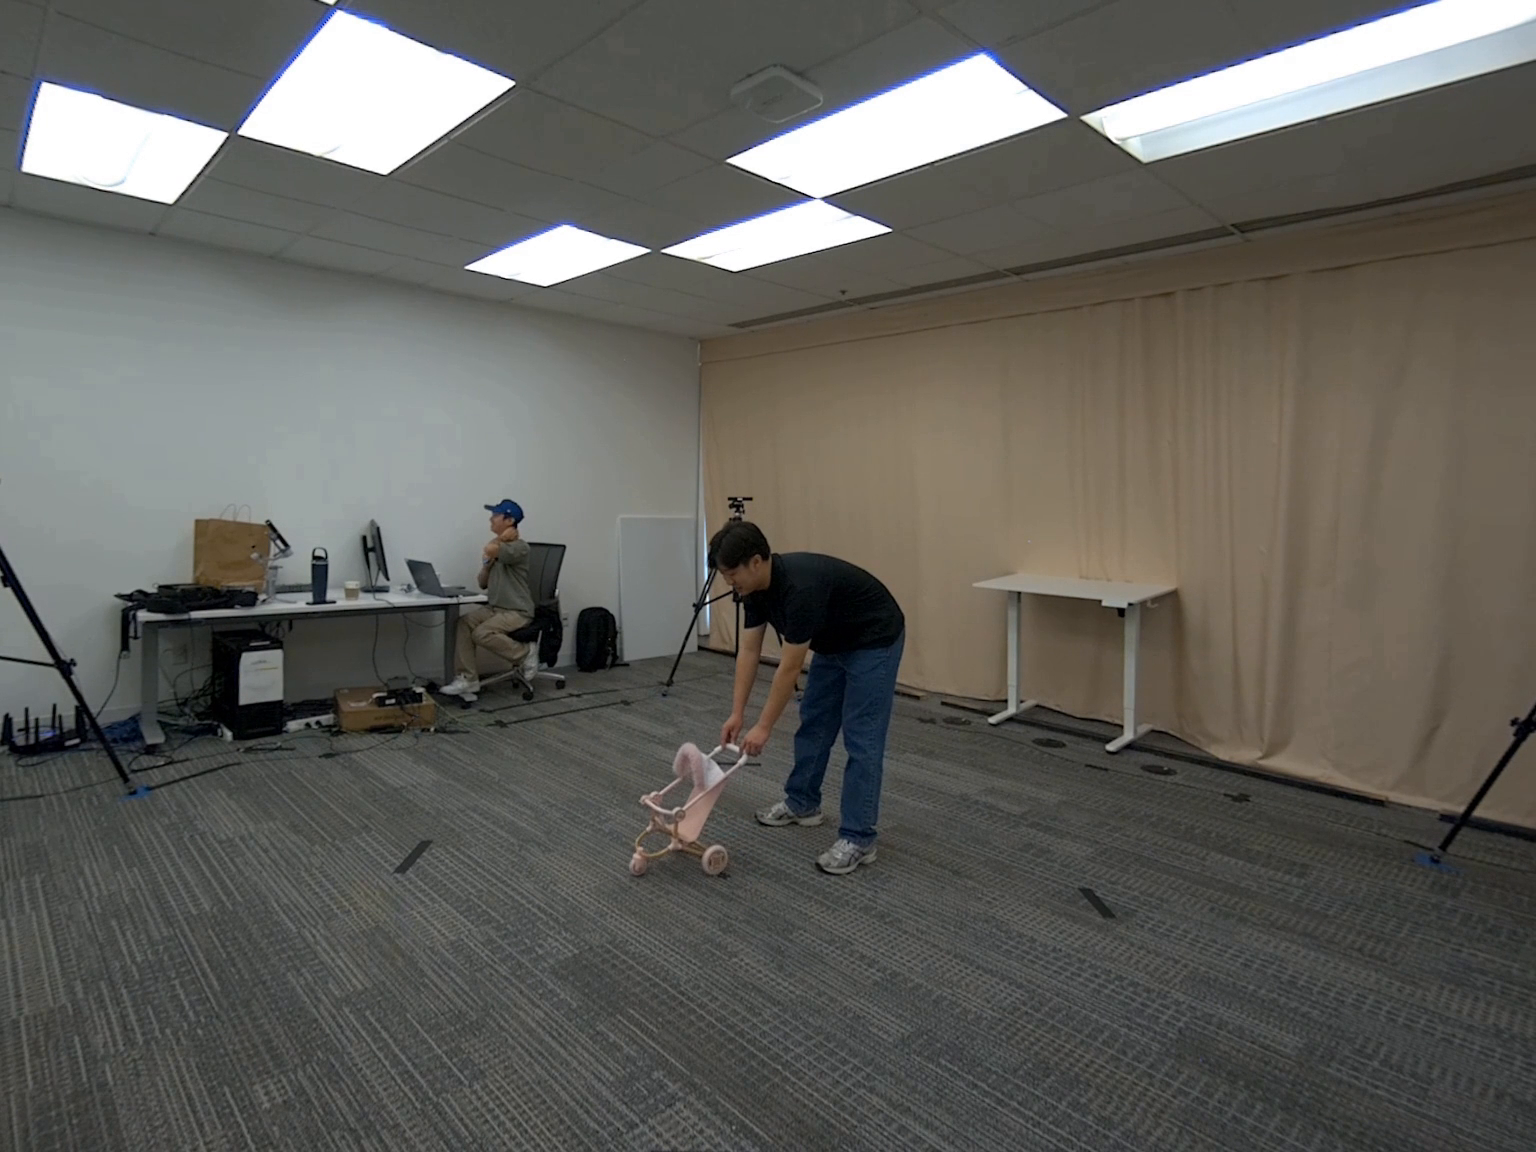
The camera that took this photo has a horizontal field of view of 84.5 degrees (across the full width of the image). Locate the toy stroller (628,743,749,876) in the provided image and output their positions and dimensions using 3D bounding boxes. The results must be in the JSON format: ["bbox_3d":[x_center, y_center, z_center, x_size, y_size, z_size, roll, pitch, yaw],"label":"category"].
[{"bbox_3d":[-0.321,0.875,3.178,0.333,0.536,0.287,19,-5,-27],"label":"toy stroller"}]
